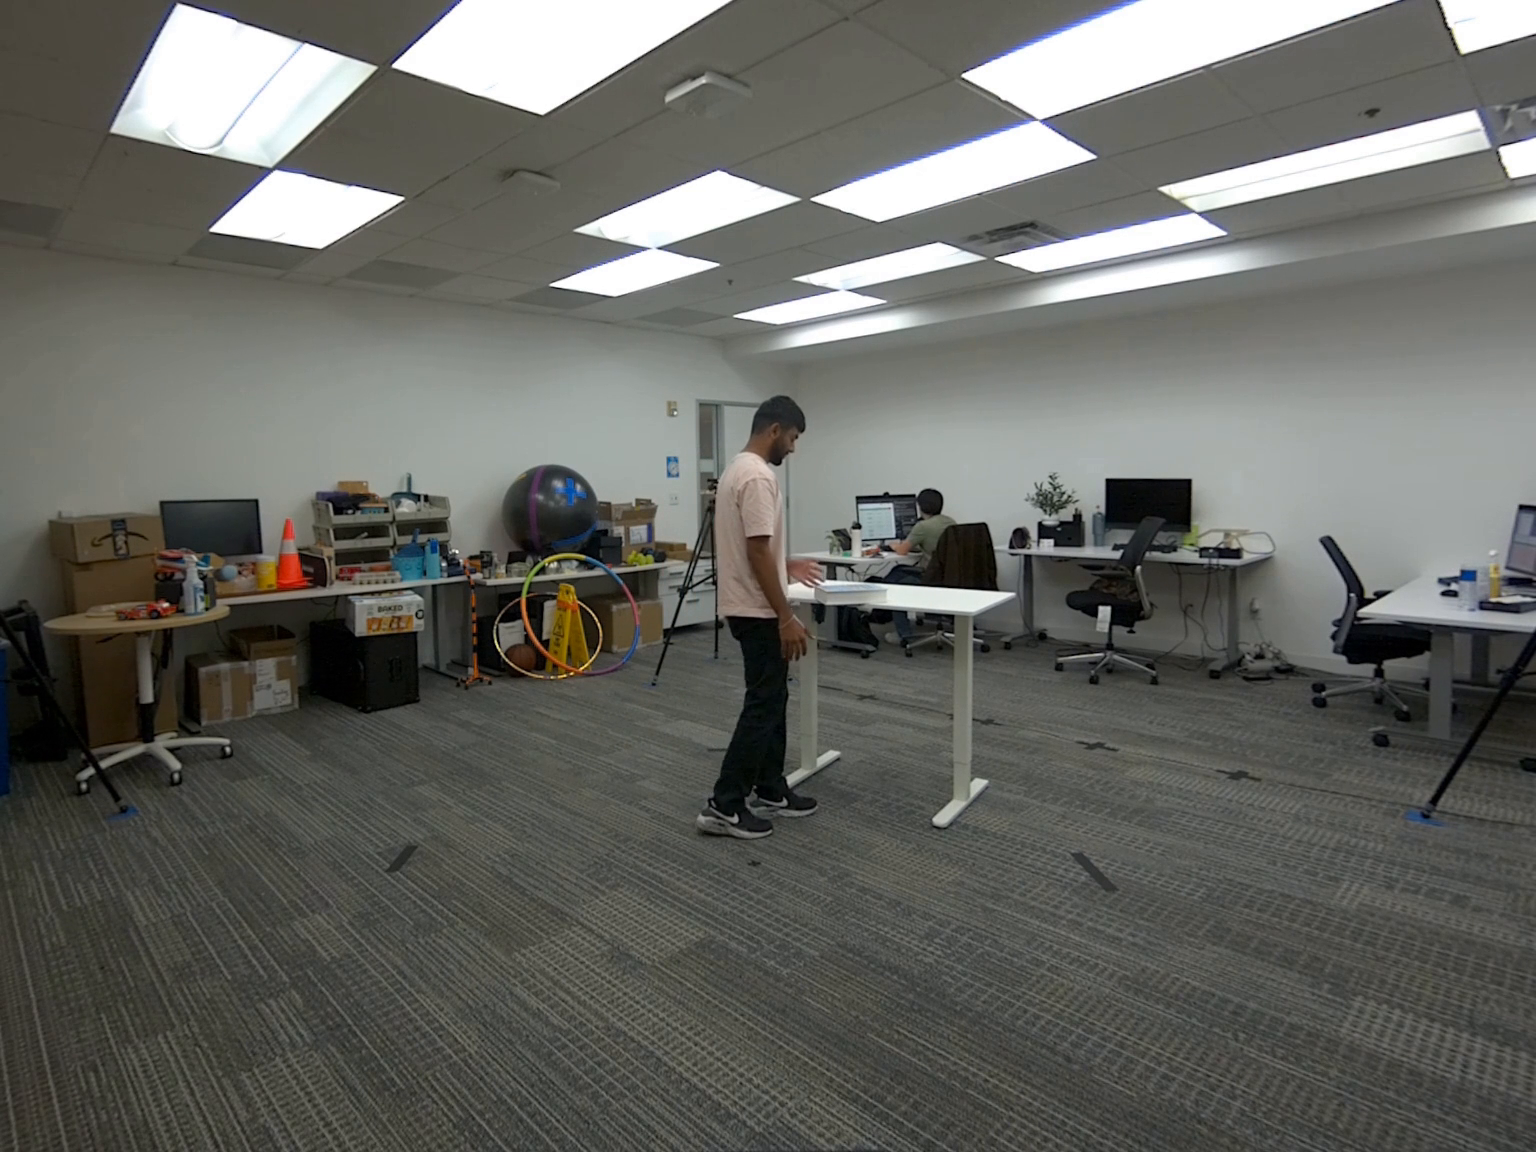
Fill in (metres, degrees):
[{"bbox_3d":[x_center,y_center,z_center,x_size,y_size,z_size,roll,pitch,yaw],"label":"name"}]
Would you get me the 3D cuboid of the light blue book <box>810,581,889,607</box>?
[{"bbox_3d":[0.344,0.075,3.597,0.259,0.059,0.194,-2,6,-9],"label":"light blue book"}]
